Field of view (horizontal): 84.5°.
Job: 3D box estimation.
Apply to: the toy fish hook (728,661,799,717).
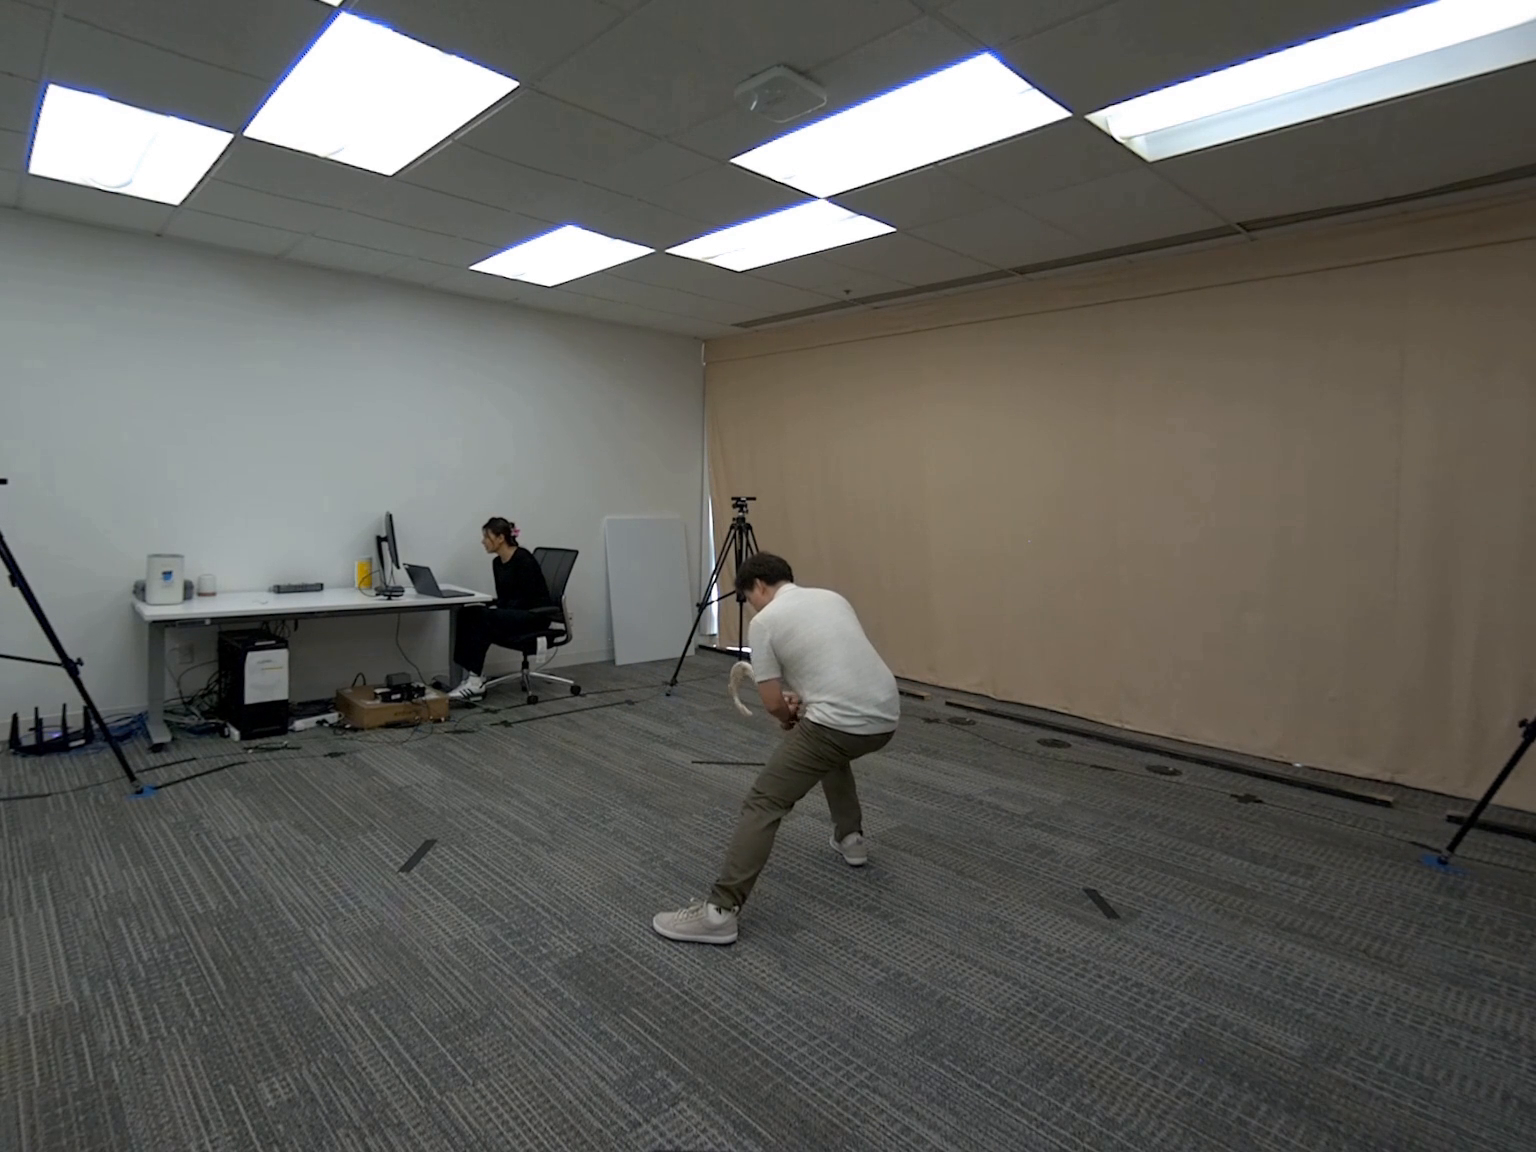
[{"bbox_3d":[-0.033,0.552,3.588,0.047,0.222,0.522,-7,22,-34],"label":"toy fish hook"}]
